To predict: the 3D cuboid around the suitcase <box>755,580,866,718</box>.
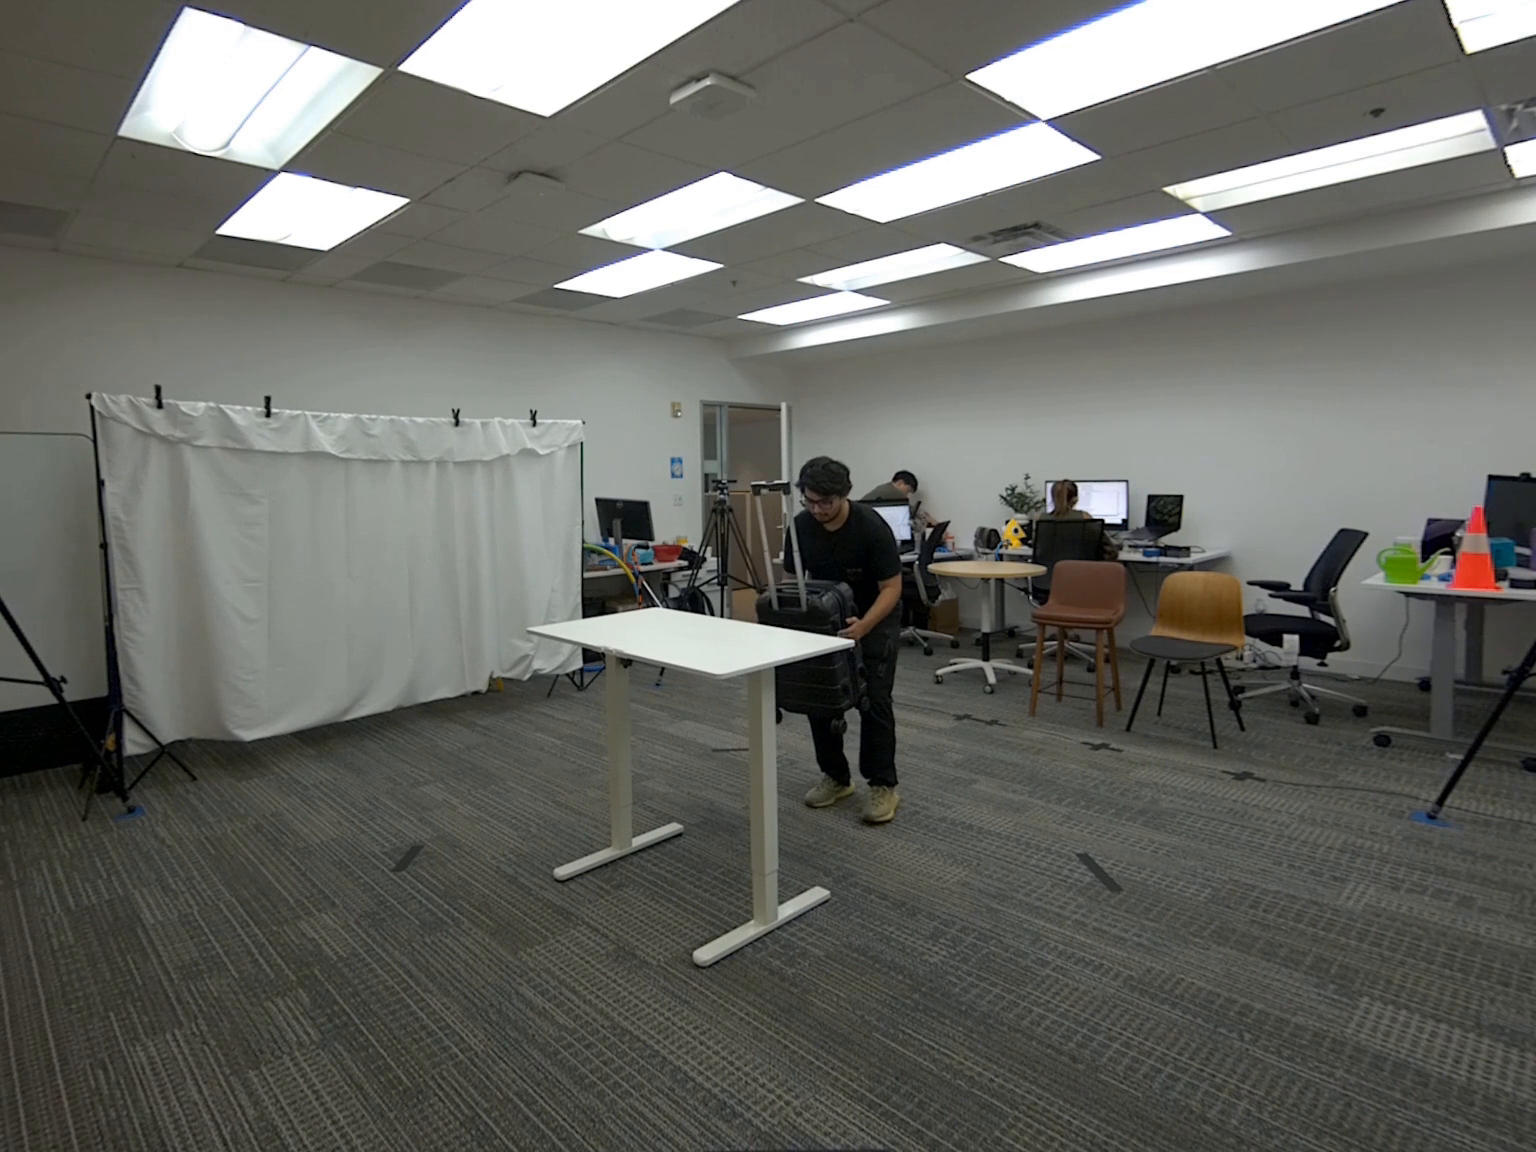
[{"bbox_3d":[0.138,0.092,3.323,0.394,0.967,0.253,-1,13,34],"label":"suitcase"}]
